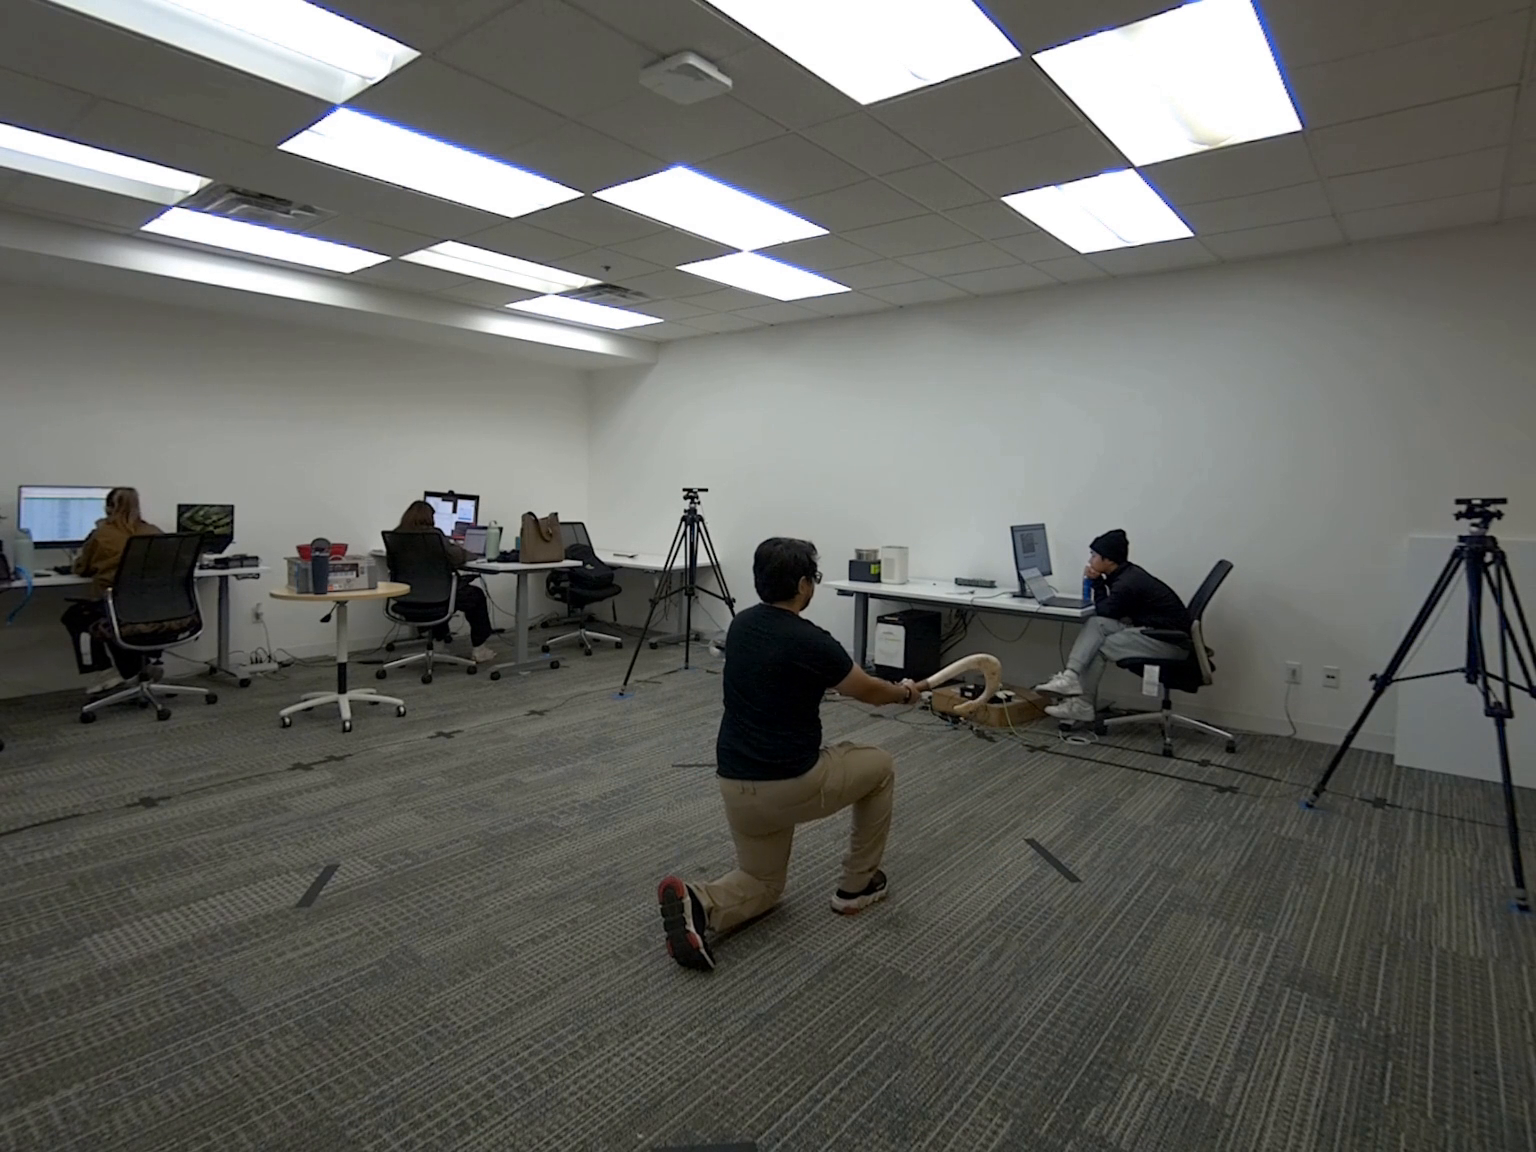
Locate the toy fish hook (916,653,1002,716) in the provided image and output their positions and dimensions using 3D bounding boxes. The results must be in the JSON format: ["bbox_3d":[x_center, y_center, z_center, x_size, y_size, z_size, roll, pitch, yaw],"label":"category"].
[{"bbox_3d":[0.646,0.428,3.135,0.502,0.221,0.049,-13,15,-11],"label":"toy fish hook"}]
